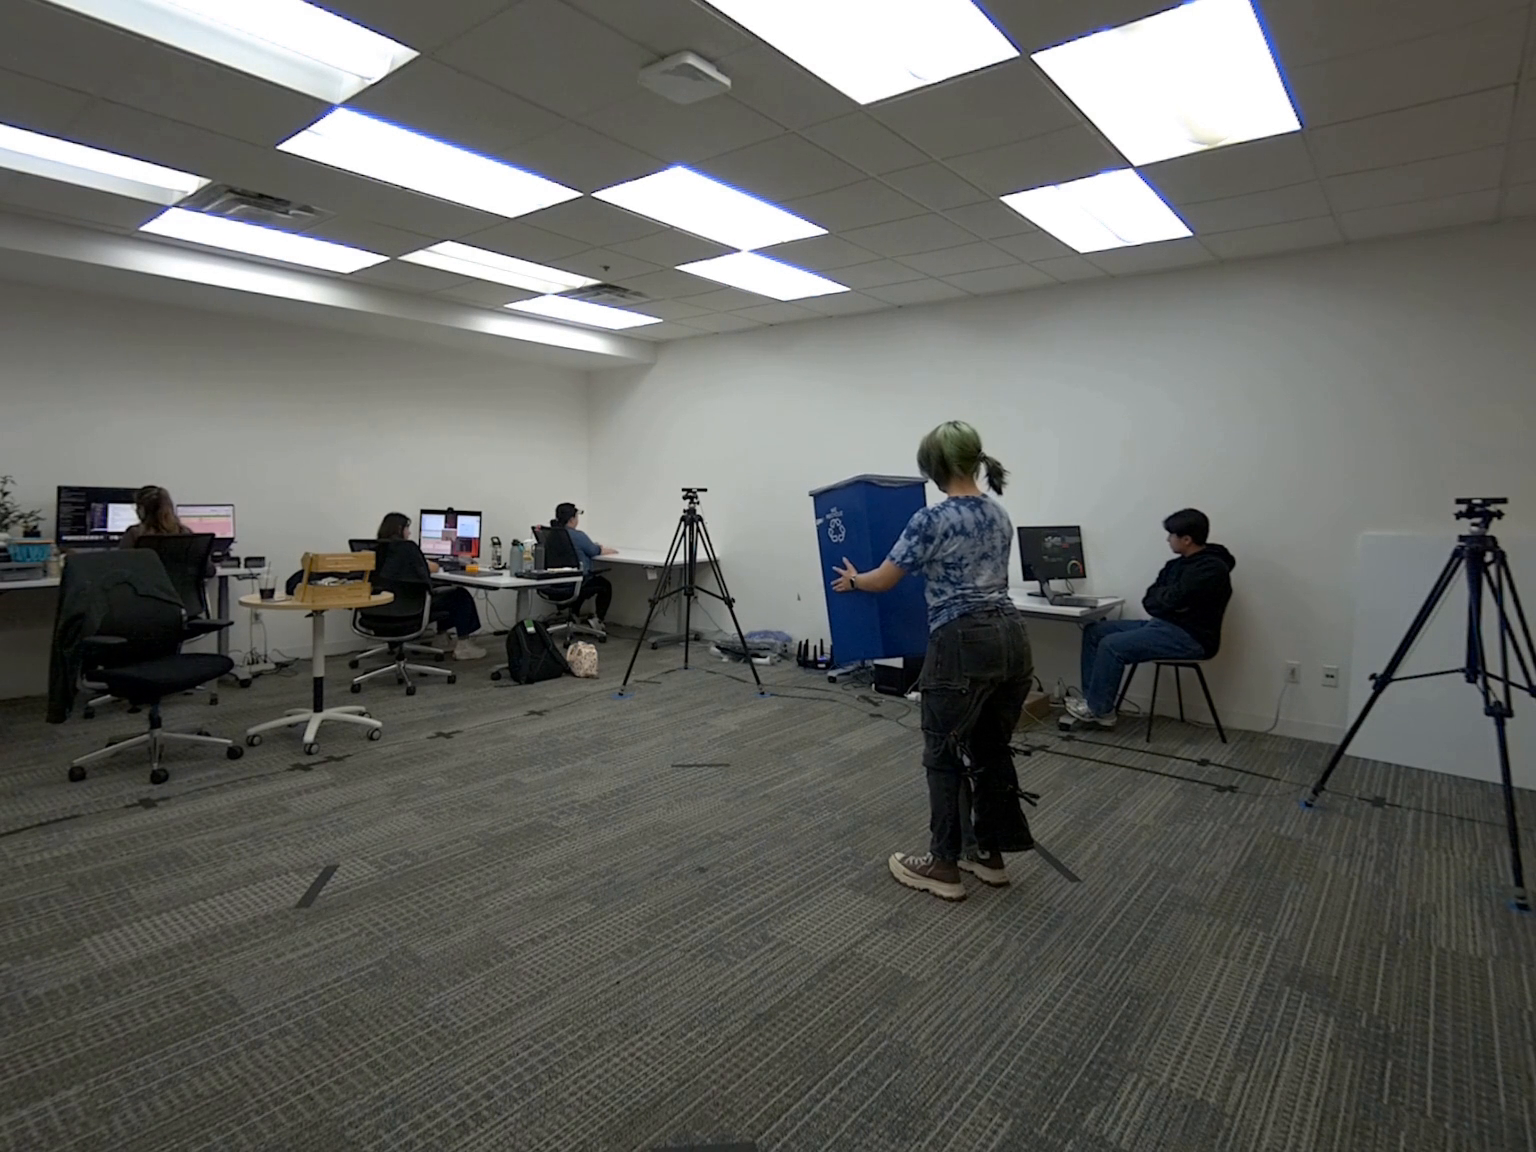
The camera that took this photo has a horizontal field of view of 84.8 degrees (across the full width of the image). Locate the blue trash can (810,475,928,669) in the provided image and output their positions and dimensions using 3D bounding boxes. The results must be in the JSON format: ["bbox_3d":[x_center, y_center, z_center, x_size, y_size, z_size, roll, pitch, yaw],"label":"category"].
[{"bbox_3d":[0.440,-0.036,3.457,0.367,0.719,0.382,-1,-9,-33],"label":"blue trash can"}]
